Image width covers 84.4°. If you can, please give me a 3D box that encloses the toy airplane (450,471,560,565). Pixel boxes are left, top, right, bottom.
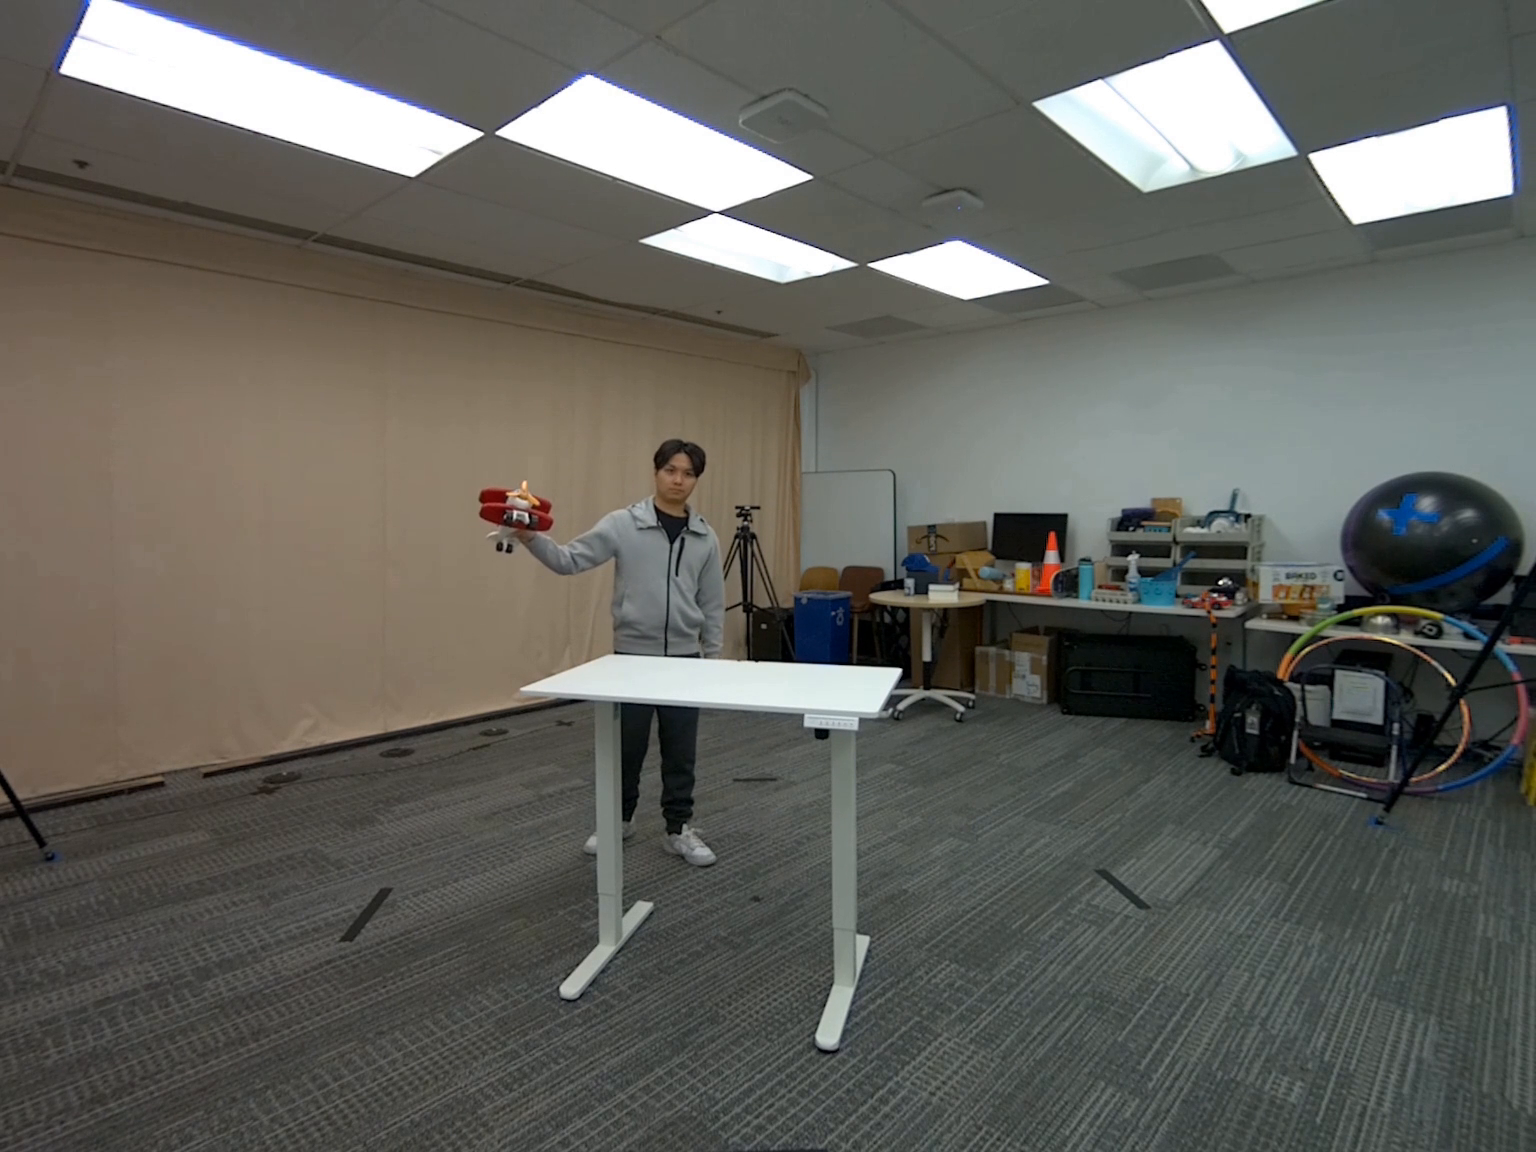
[{"bbox_3d":[-0.912,-0.198,2.946,0.264,0.159,0.242,-20,-32,25],"label":"toy airplane"}]
